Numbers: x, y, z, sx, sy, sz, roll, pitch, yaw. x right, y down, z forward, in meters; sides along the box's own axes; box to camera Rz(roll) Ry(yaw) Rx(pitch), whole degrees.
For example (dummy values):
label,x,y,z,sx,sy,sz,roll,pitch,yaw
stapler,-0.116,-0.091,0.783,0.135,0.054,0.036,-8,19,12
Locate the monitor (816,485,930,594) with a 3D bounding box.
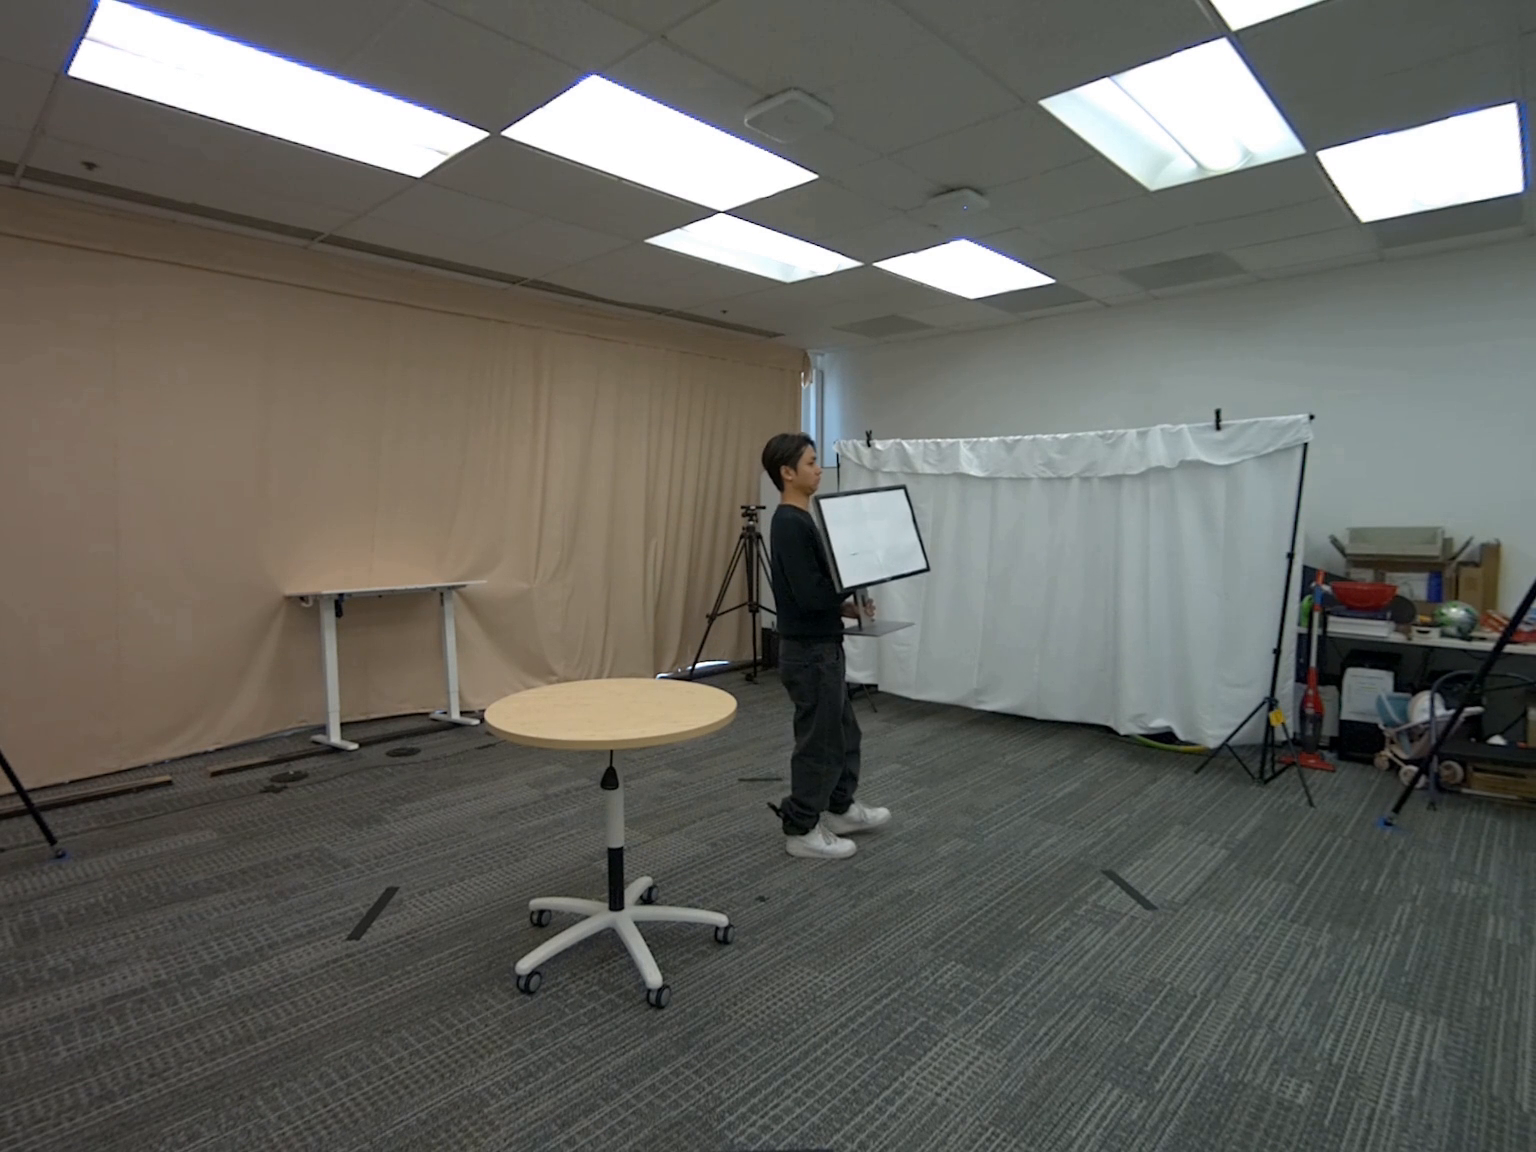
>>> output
label,x,y,z,sx,sy,sz,roll,pitch,yaw
monitor,0.396,-0.067,3.217,0.515,0.513,0.180,-9,10,-43
